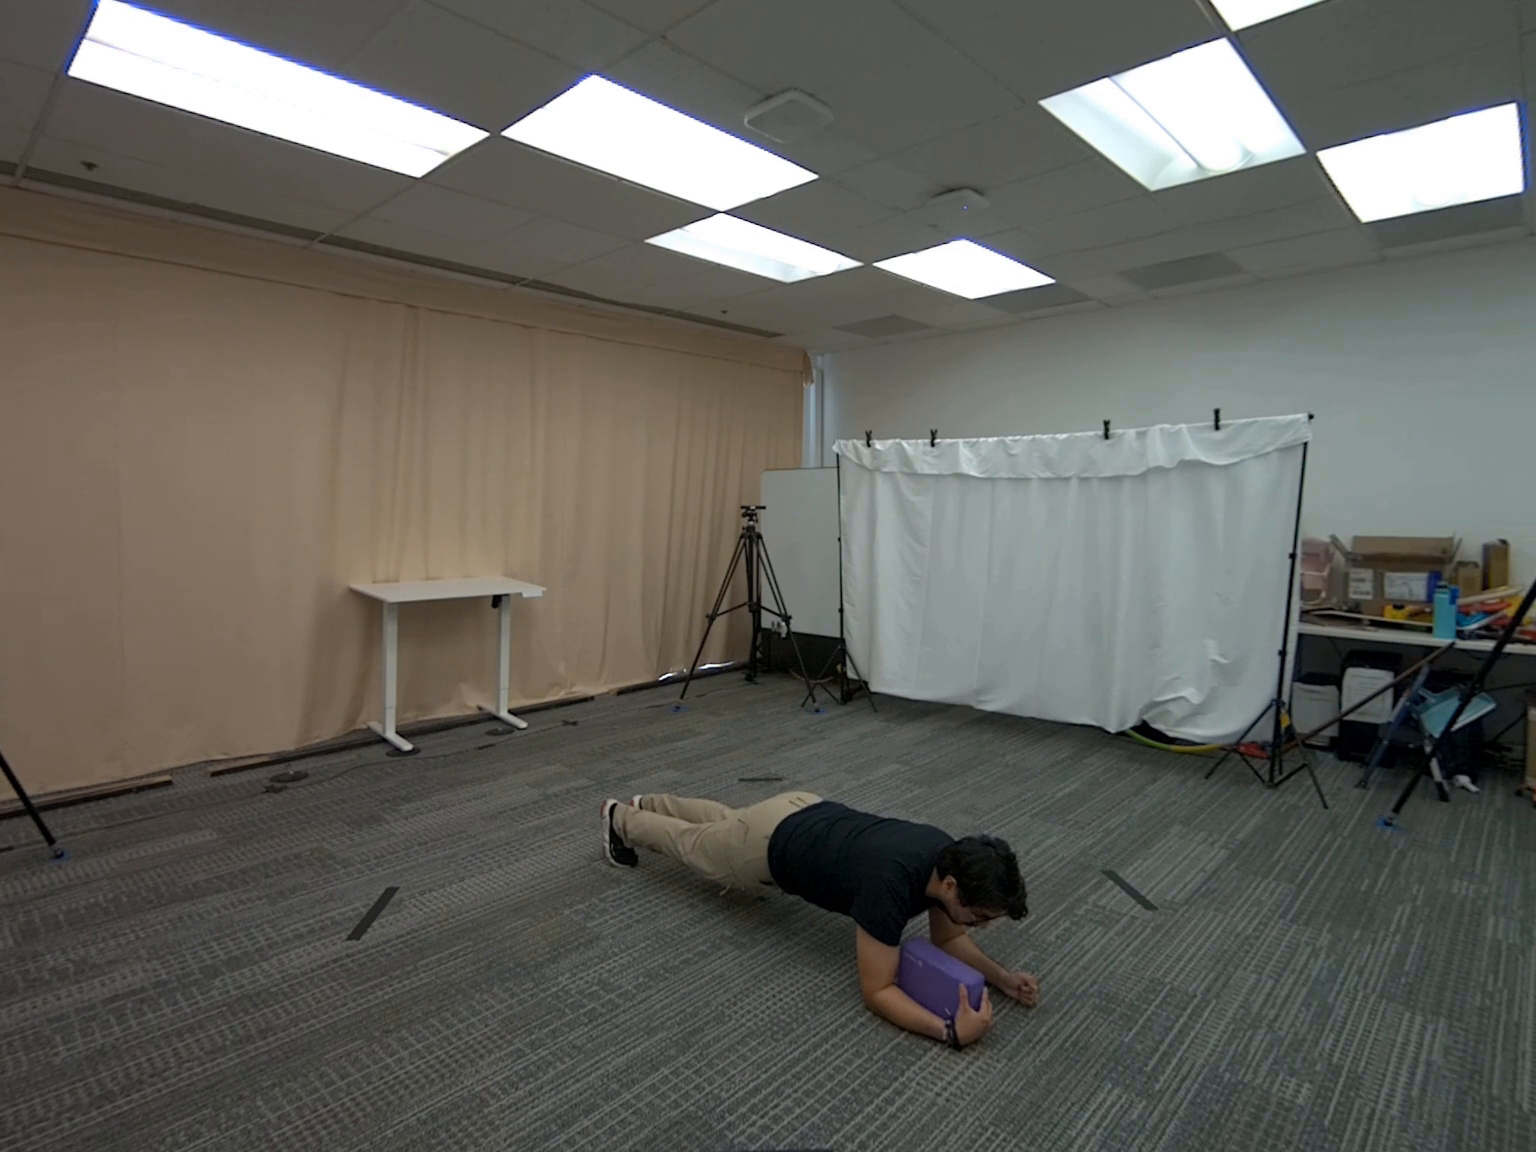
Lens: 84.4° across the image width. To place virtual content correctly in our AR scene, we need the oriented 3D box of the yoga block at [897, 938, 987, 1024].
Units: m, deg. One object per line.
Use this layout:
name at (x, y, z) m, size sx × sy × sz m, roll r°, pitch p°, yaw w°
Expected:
yoga block at (0.462, 1.108, 2.279) m, size 0.074 × 0.148 × 0.237 m, roll 0°, pitch 7°, yaw -41°
